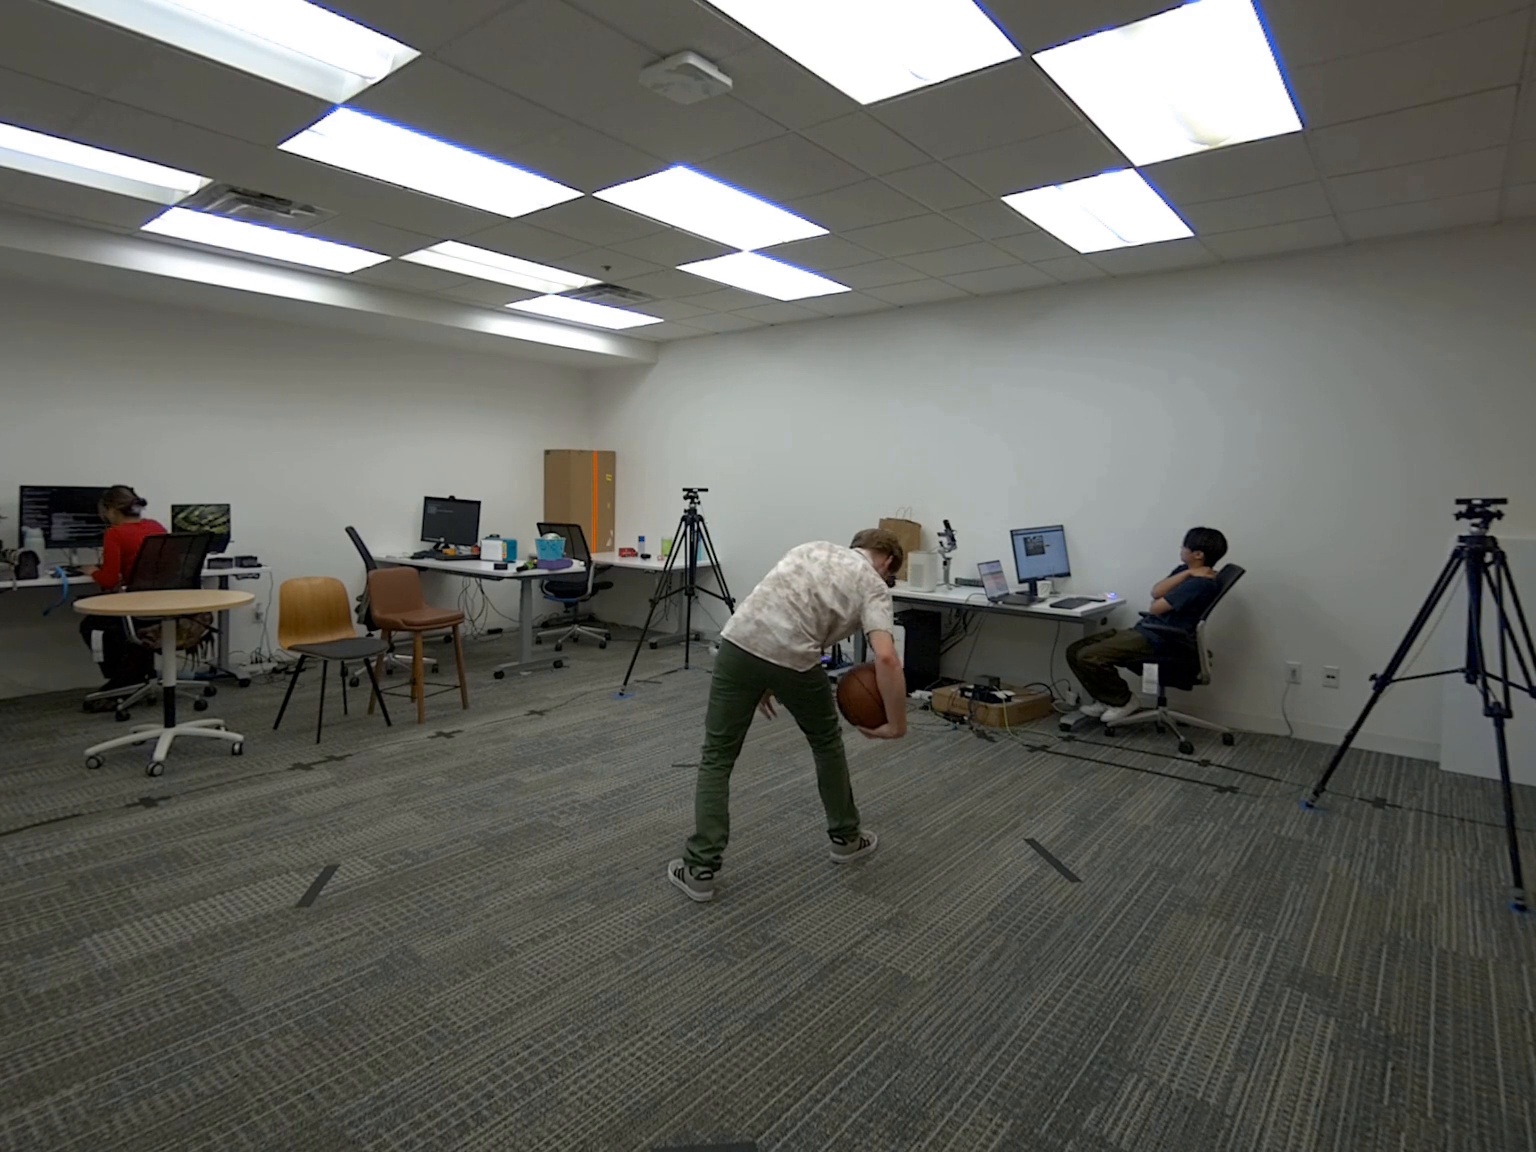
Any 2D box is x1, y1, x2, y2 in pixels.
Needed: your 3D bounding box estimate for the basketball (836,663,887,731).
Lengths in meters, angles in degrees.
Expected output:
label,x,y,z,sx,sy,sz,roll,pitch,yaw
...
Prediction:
label,x,y,z,sx,sy,sz,roll,pitch,yaw
basketball,0.368,0.429,3.037,0.235,0.235,0.237,1,4,-2
